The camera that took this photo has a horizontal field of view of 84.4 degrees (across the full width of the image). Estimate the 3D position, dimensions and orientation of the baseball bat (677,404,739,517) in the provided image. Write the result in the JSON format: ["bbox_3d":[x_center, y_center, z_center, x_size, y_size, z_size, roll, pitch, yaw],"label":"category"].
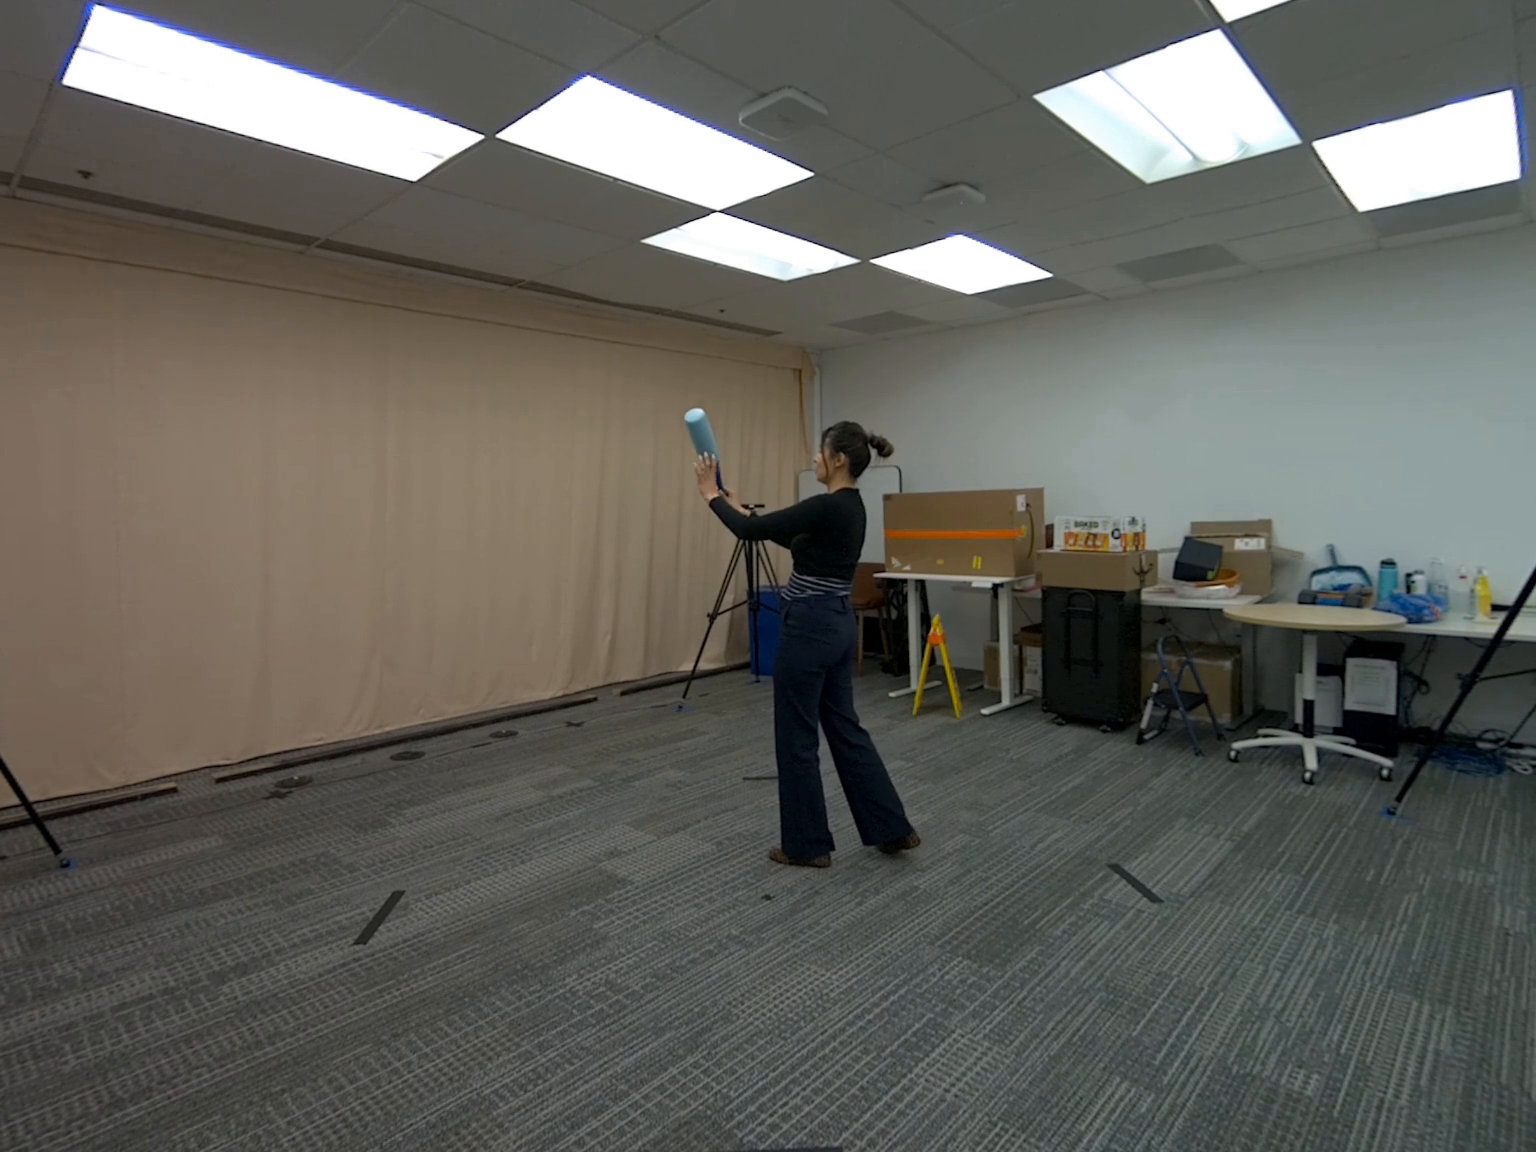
[{"bbox_3d":[-0.238,-0.458,3.432,0.091,0.090,0.527,1,-40,18],"label":"baseball bat"}]
